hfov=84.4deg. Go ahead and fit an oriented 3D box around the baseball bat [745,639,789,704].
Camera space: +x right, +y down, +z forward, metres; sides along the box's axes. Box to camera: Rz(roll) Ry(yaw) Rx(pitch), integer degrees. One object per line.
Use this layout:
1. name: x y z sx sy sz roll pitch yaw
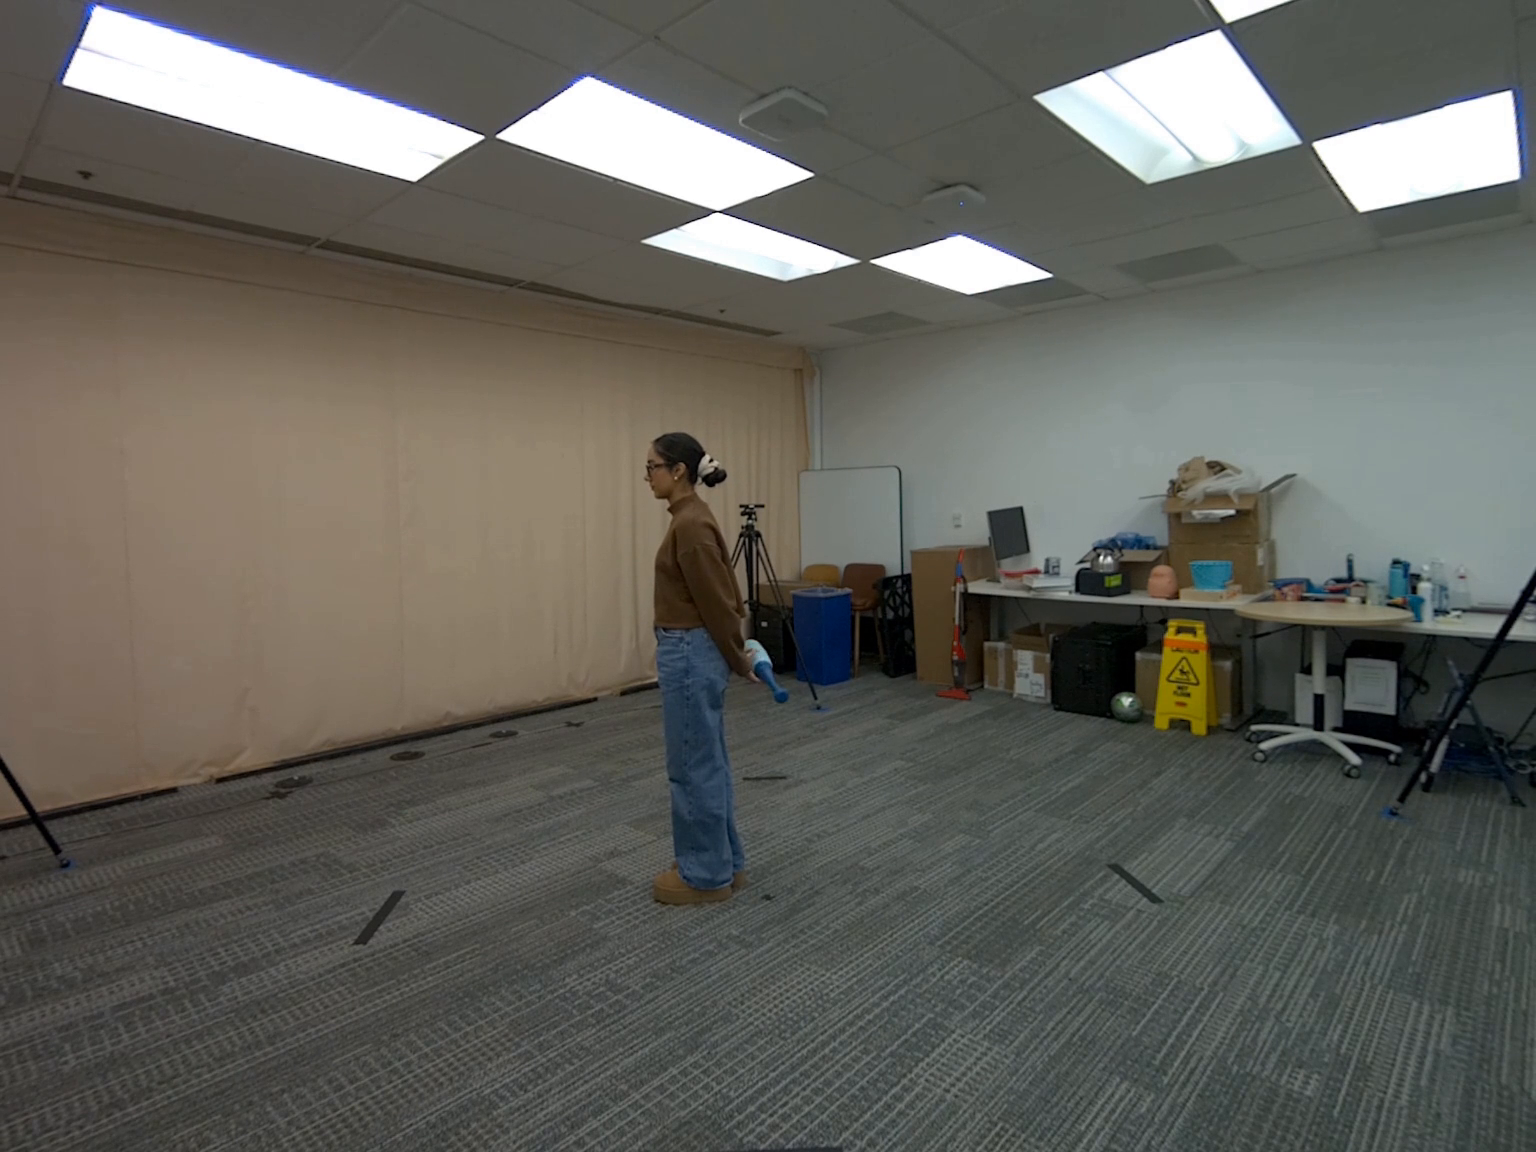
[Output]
1. baseball bat: -0.002 0.339 2.990 0.088 0.088 0.554 -2 12 -14
